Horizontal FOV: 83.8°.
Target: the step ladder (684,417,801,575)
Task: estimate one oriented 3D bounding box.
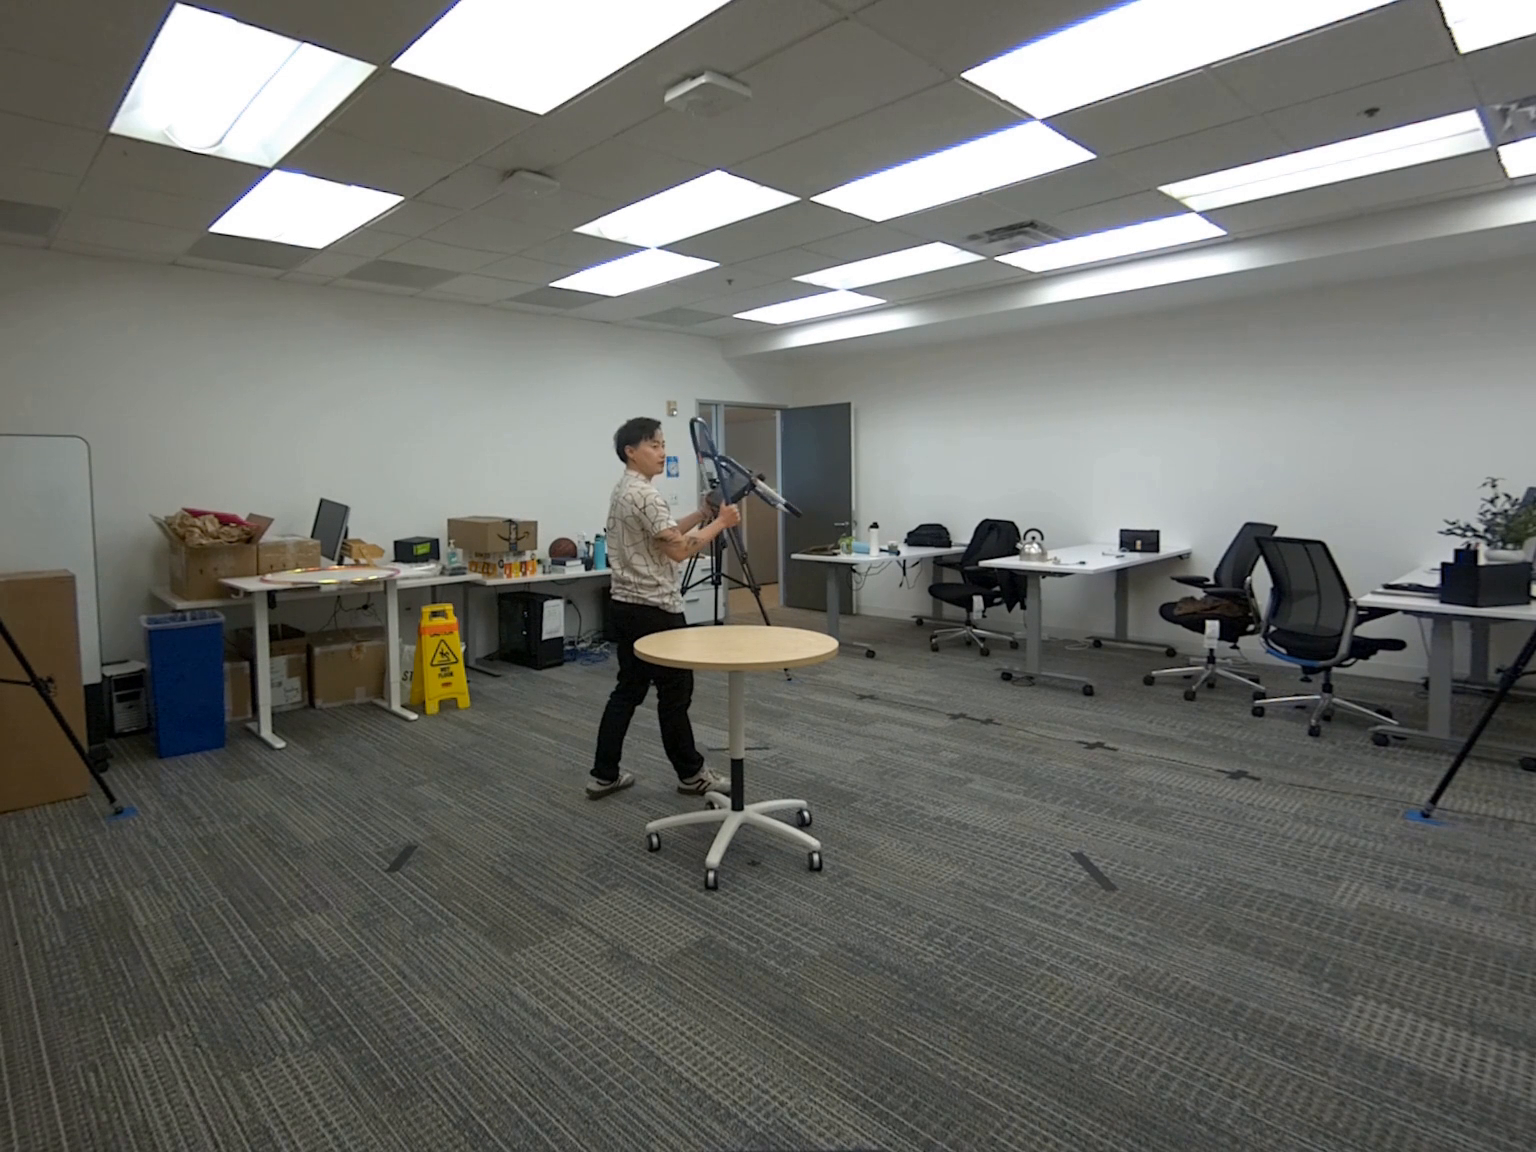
[{"bbox_3d":[-0.211,-0.421,3.864,0.349,0.594,0.440,-38,17,-6],"label":"step ladder"}]
